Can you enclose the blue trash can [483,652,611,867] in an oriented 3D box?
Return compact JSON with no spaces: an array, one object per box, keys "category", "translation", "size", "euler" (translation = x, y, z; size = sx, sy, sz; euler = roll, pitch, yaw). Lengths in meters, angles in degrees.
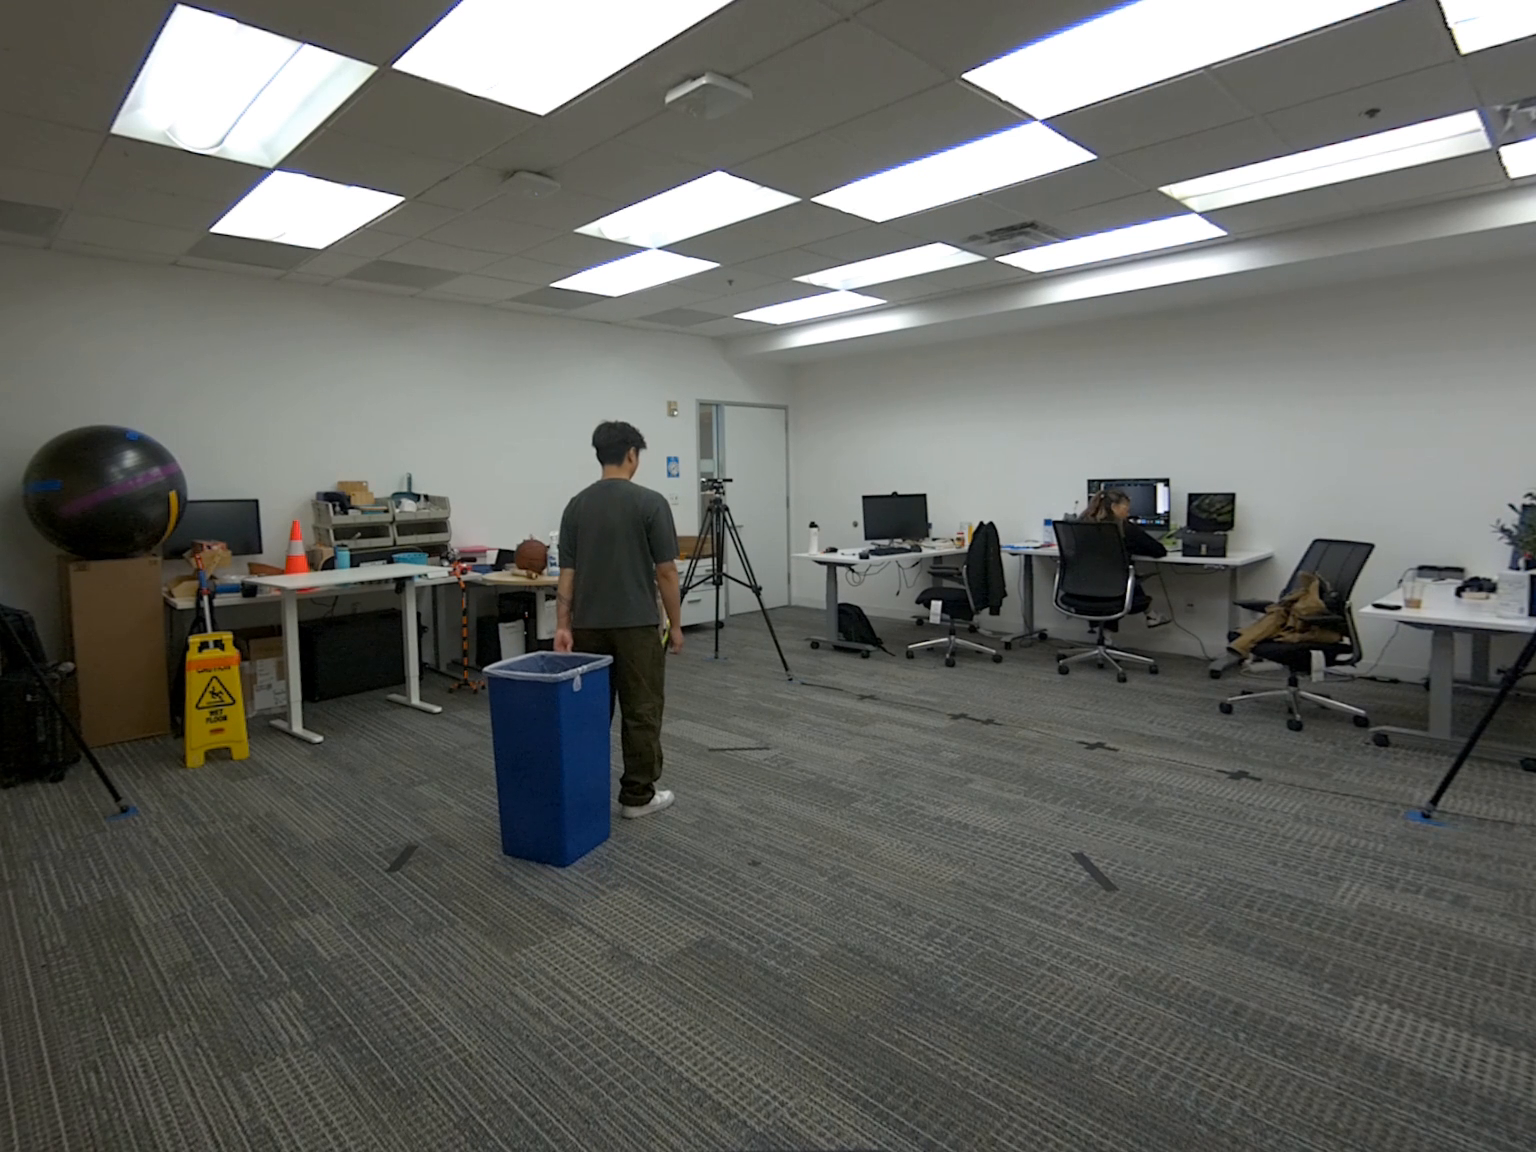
[{"category":"blue trash can","translation":[-0.833,0.682,3.273],"size":[0.382,0.711,0.371],"euler":[1,4,24]}]
